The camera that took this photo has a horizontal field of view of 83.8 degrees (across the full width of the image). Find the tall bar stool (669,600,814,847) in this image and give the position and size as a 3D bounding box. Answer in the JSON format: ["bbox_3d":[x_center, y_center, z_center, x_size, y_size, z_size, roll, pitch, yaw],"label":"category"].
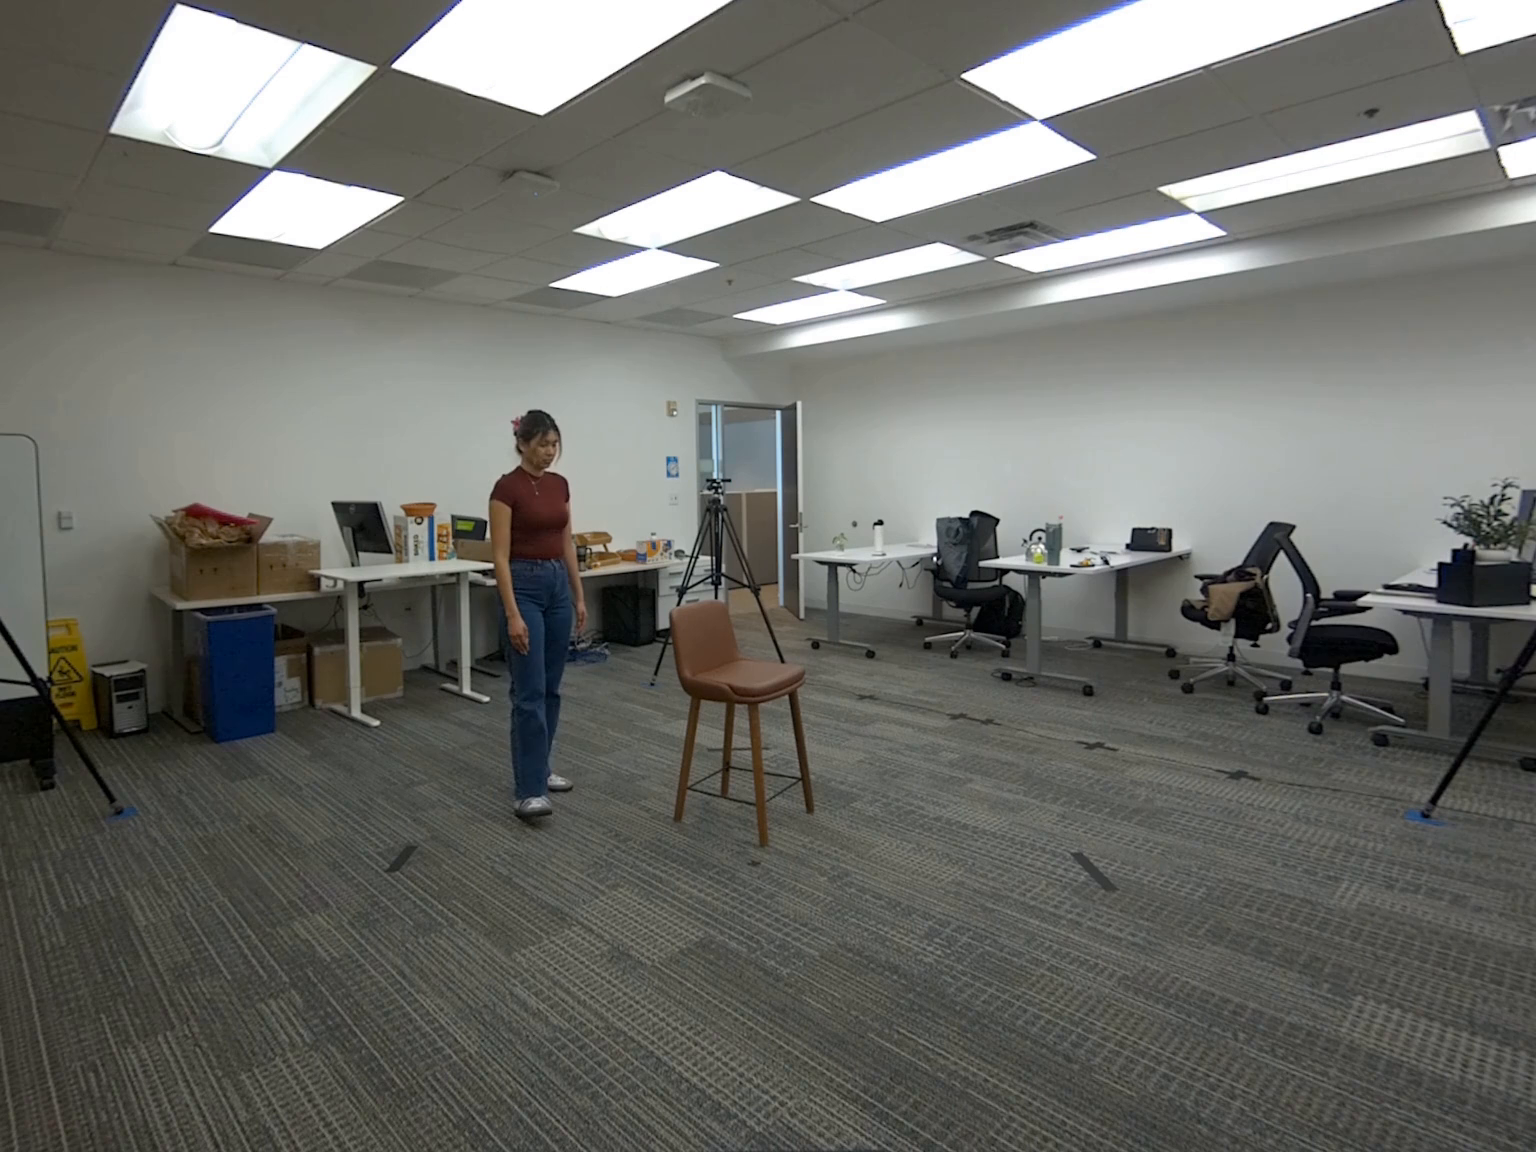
[{"bbox_3d":[-0.117,0.561,3.513,0.480,0.888,0.445,-1,2,33],"label":"tall bar stool"}]
